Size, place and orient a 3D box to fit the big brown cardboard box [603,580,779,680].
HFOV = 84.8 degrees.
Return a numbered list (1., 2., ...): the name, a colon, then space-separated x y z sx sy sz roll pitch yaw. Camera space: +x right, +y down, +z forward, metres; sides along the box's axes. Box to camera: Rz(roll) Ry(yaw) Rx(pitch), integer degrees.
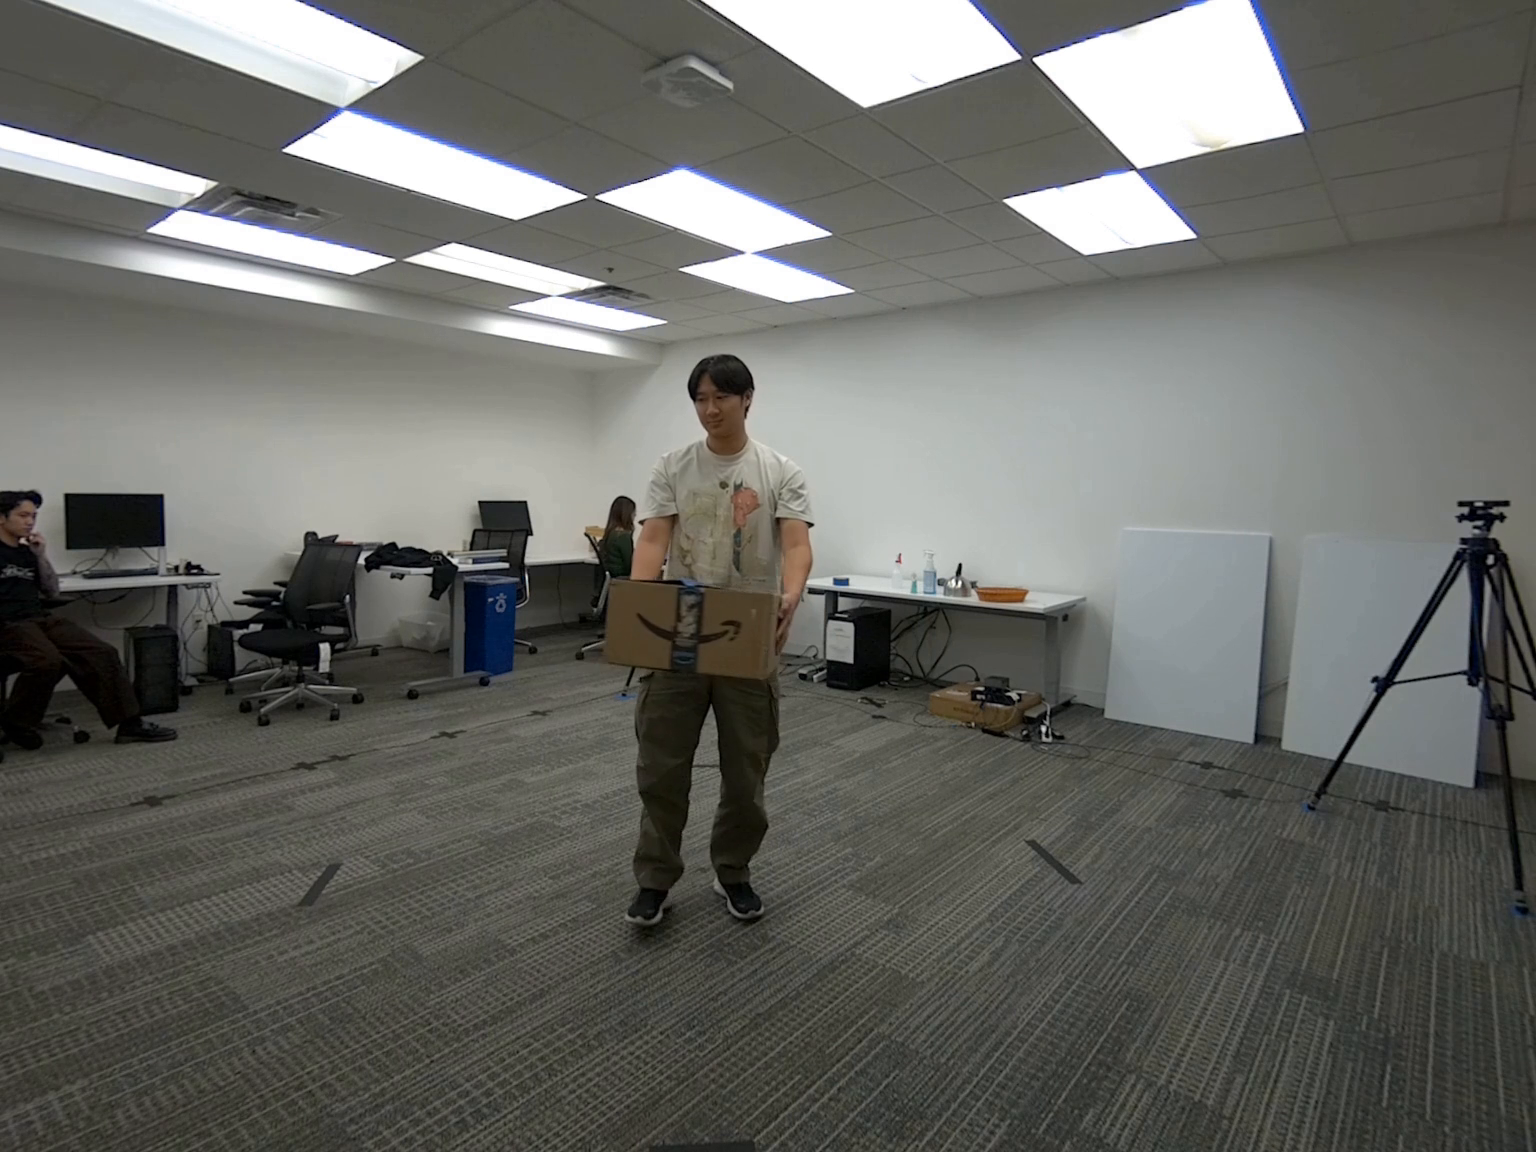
1. big brown cardboard box: -0.189 0.132 2.399 0.419 0.234 0.585 5 -2 2
